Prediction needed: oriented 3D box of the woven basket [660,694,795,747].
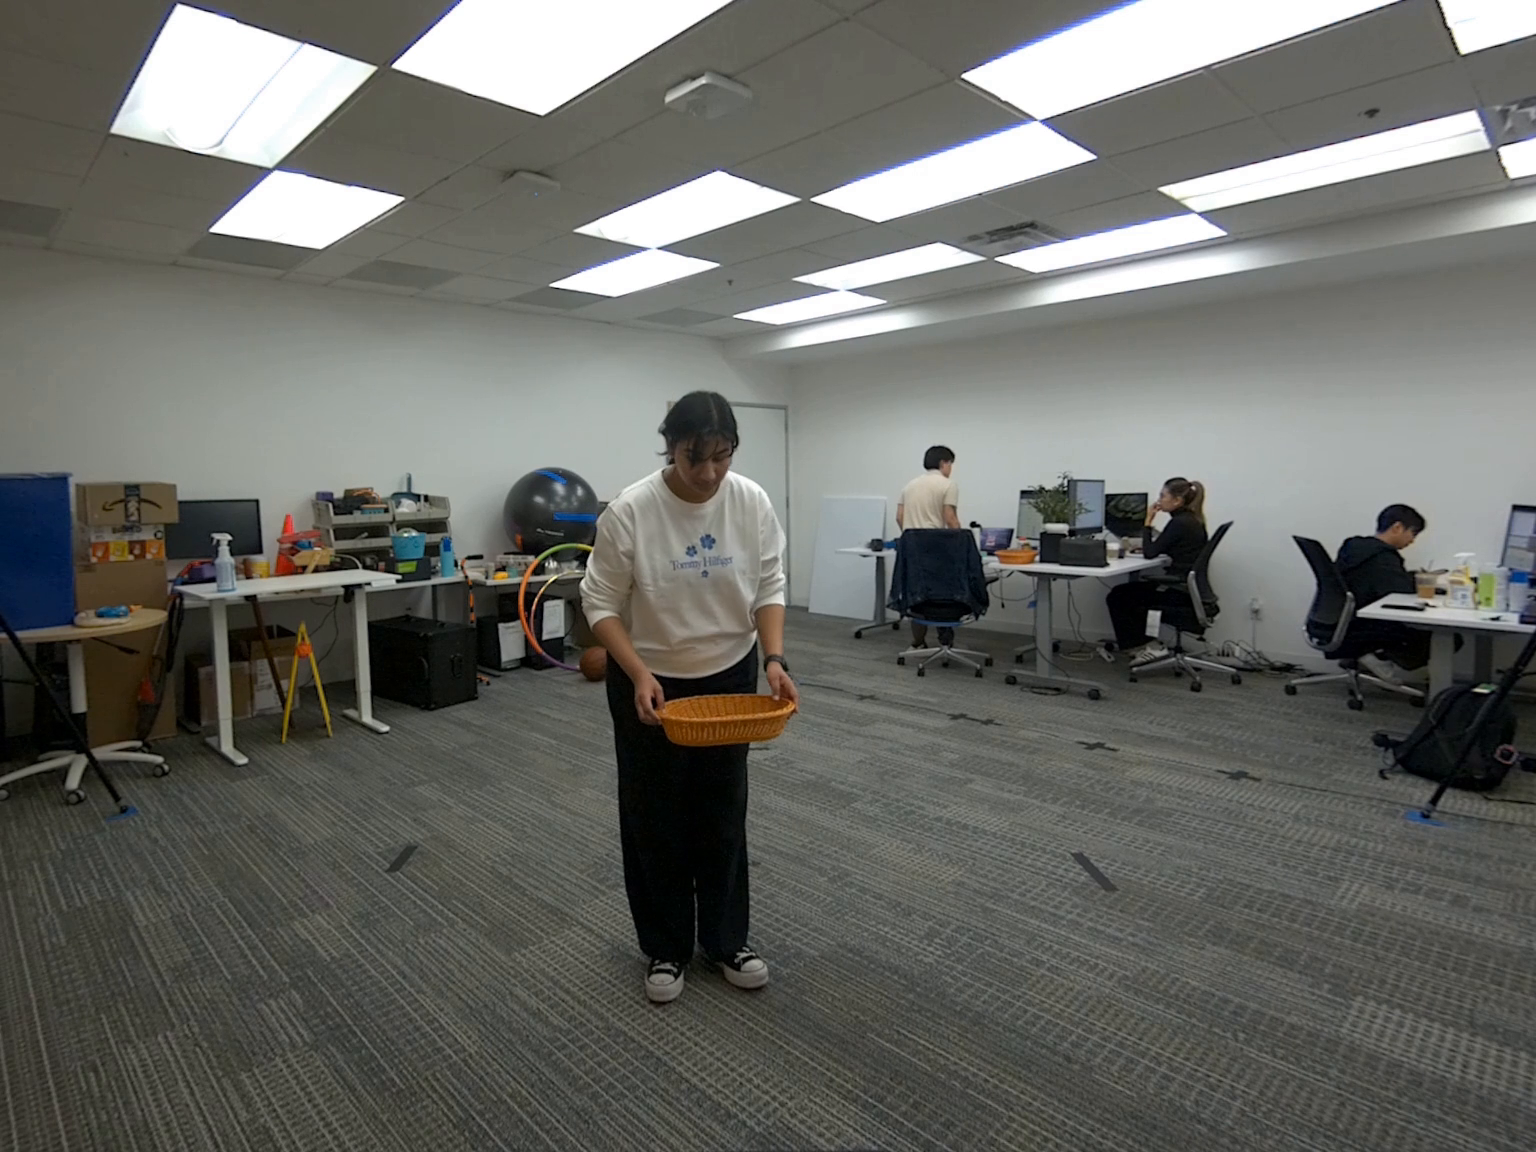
[{"bbox_3d":[-0.105,0.362,2.104,0.349,0.073,0.254,-4,5,-5],"label":"woven basket"}]
